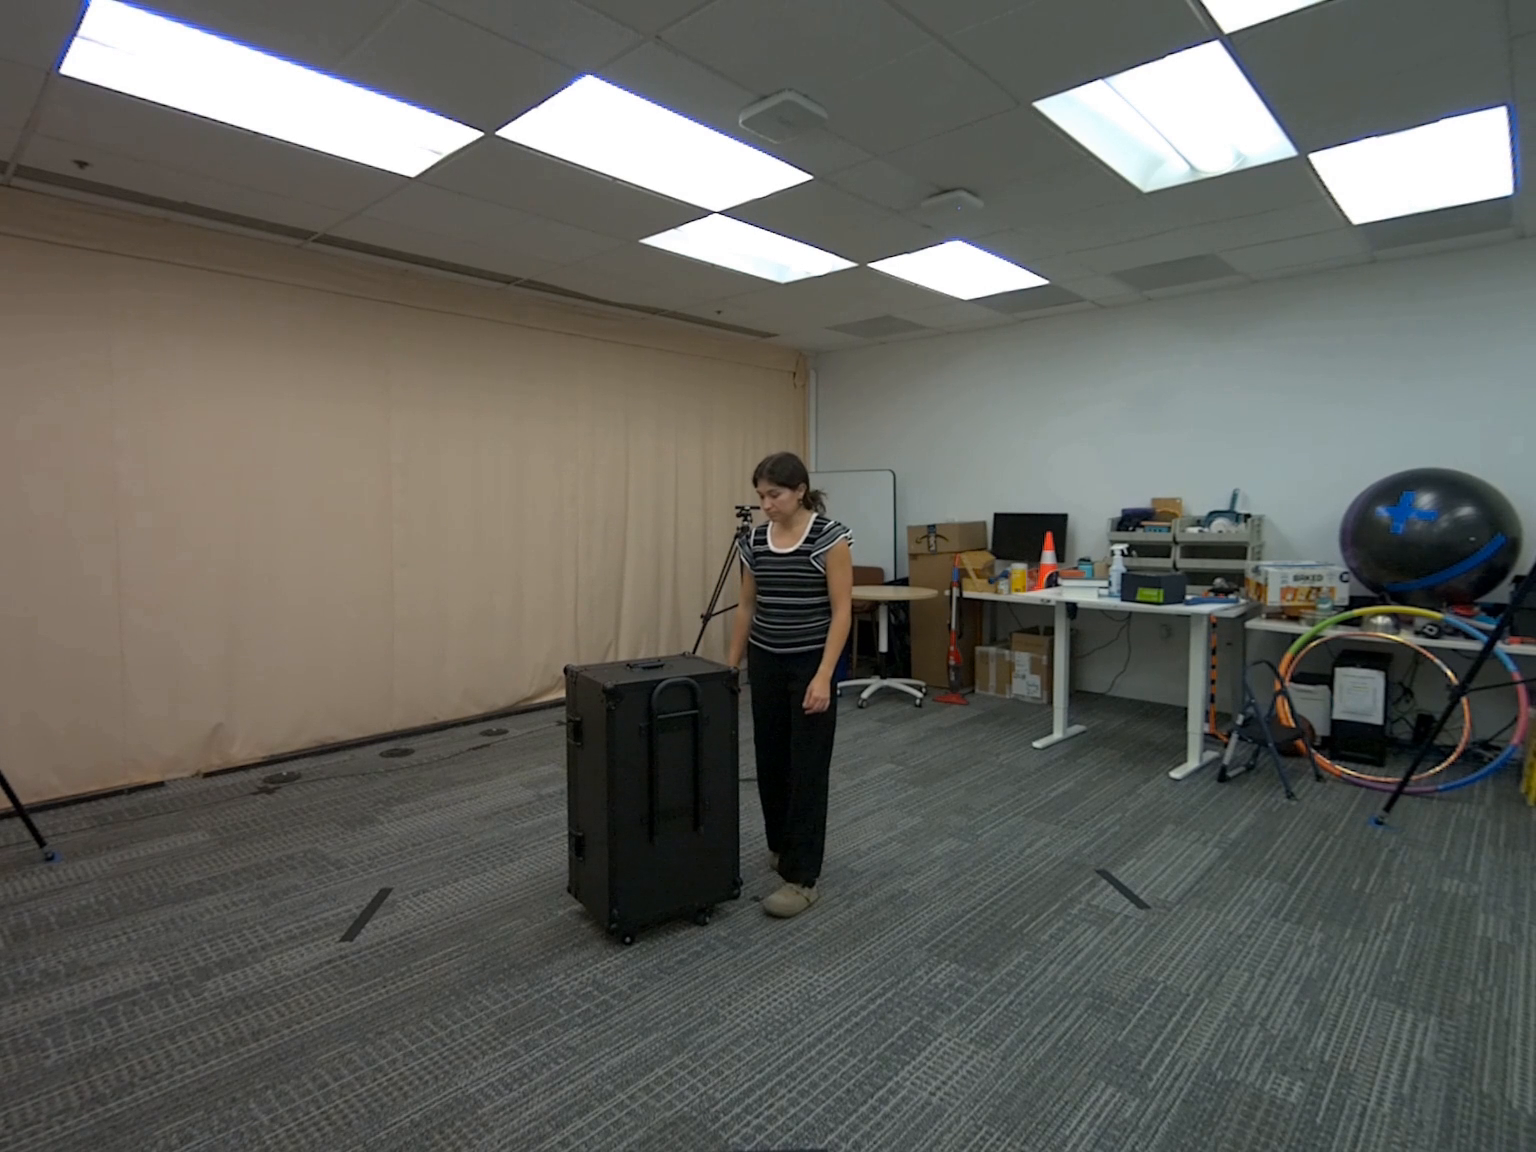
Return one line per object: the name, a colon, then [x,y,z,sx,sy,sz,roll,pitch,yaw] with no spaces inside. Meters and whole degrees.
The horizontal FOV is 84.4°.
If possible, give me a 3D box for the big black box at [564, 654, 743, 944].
big black box: [-0.380,0.733,2.843,0.507,0.859,0.408,-2,4,-32]
